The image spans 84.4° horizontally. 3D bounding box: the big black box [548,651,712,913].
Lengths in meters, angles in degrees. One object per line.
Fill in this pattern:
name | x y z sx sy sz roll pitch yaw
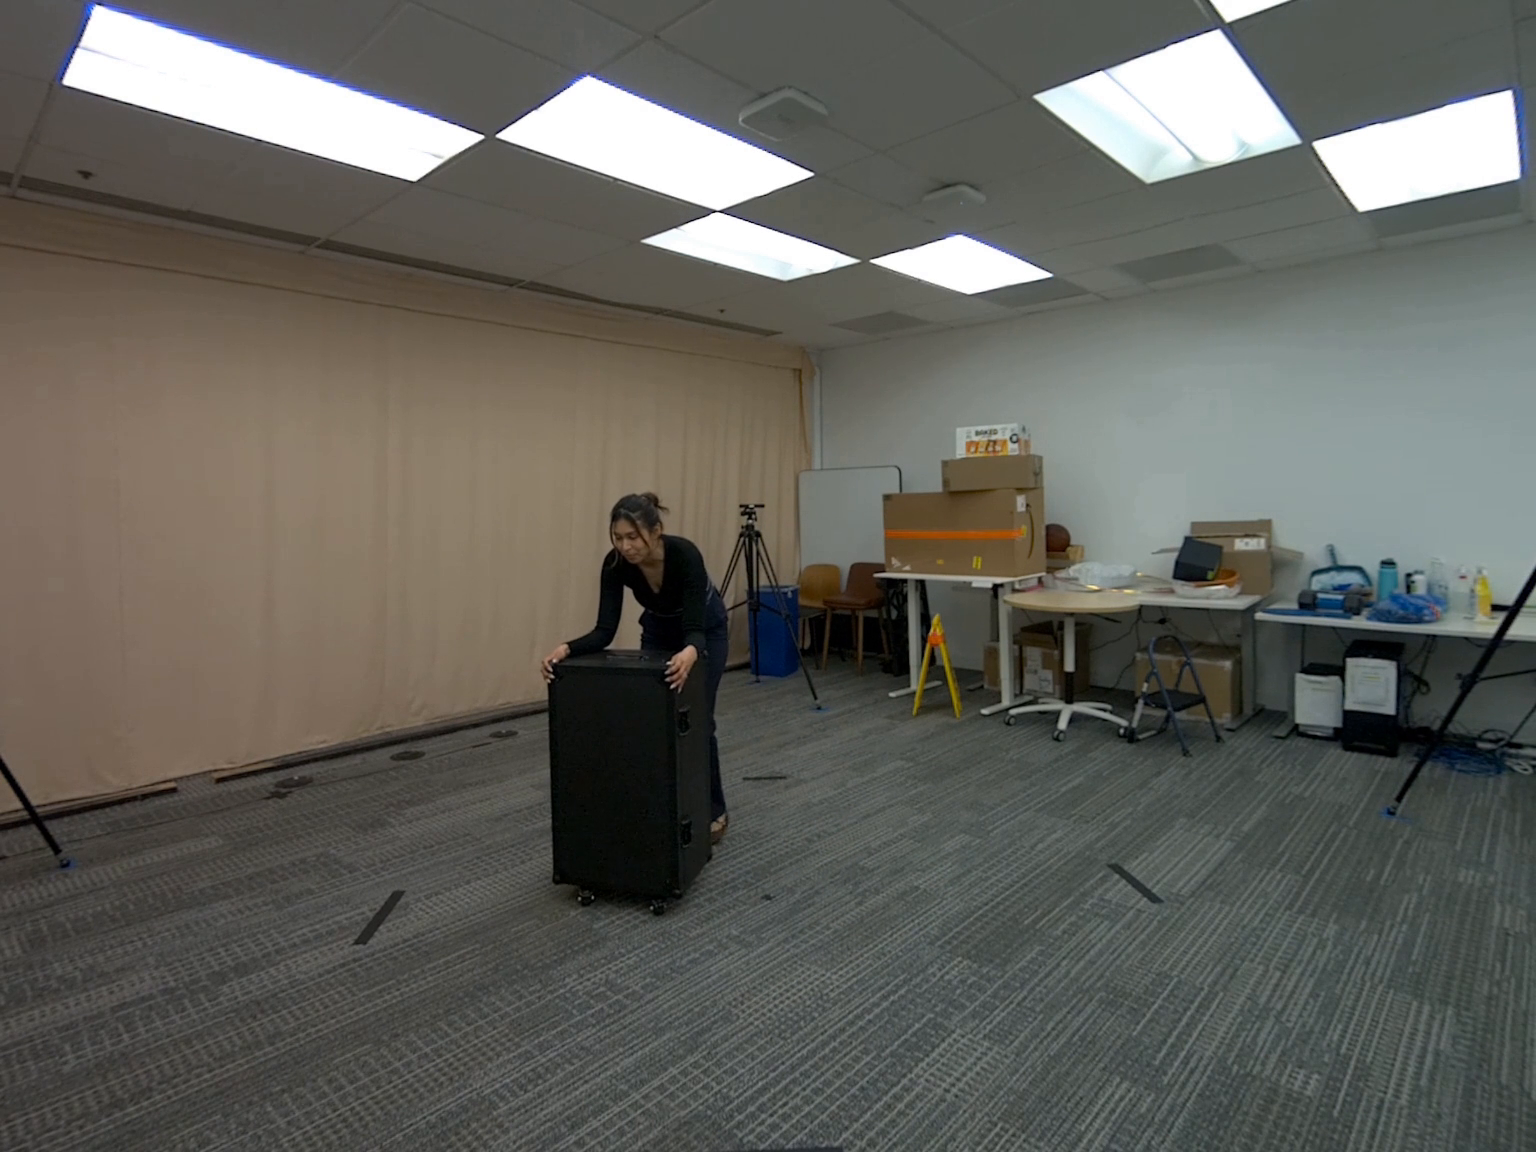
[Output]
big black box | -0.492 0.719 3.068 0.531 0.860 0.389 0 2 17
